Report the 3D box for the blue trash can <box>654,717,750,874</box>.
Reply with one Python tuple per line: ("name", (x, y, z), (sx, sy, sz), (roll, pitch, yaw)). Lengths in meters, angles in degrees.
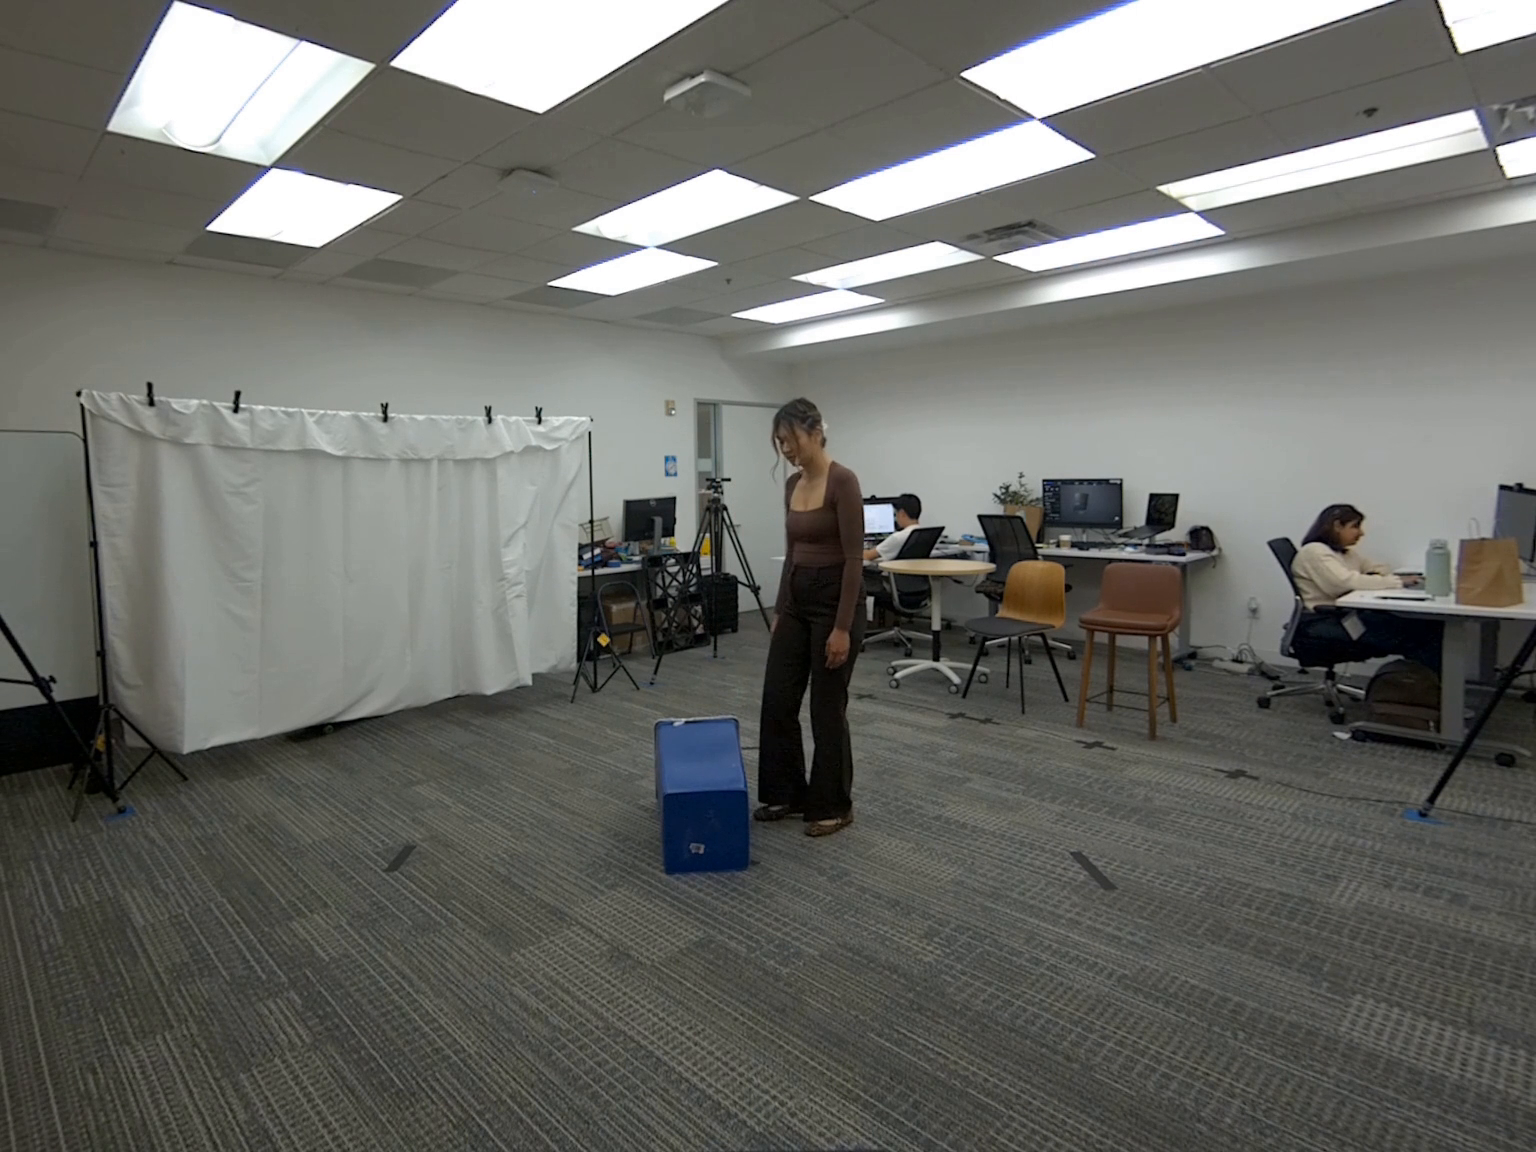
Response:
("blue trash can", (-0.258, 0.853, 3.371), (0.372, 0.375, 0.723), (-1, 8, -8))
